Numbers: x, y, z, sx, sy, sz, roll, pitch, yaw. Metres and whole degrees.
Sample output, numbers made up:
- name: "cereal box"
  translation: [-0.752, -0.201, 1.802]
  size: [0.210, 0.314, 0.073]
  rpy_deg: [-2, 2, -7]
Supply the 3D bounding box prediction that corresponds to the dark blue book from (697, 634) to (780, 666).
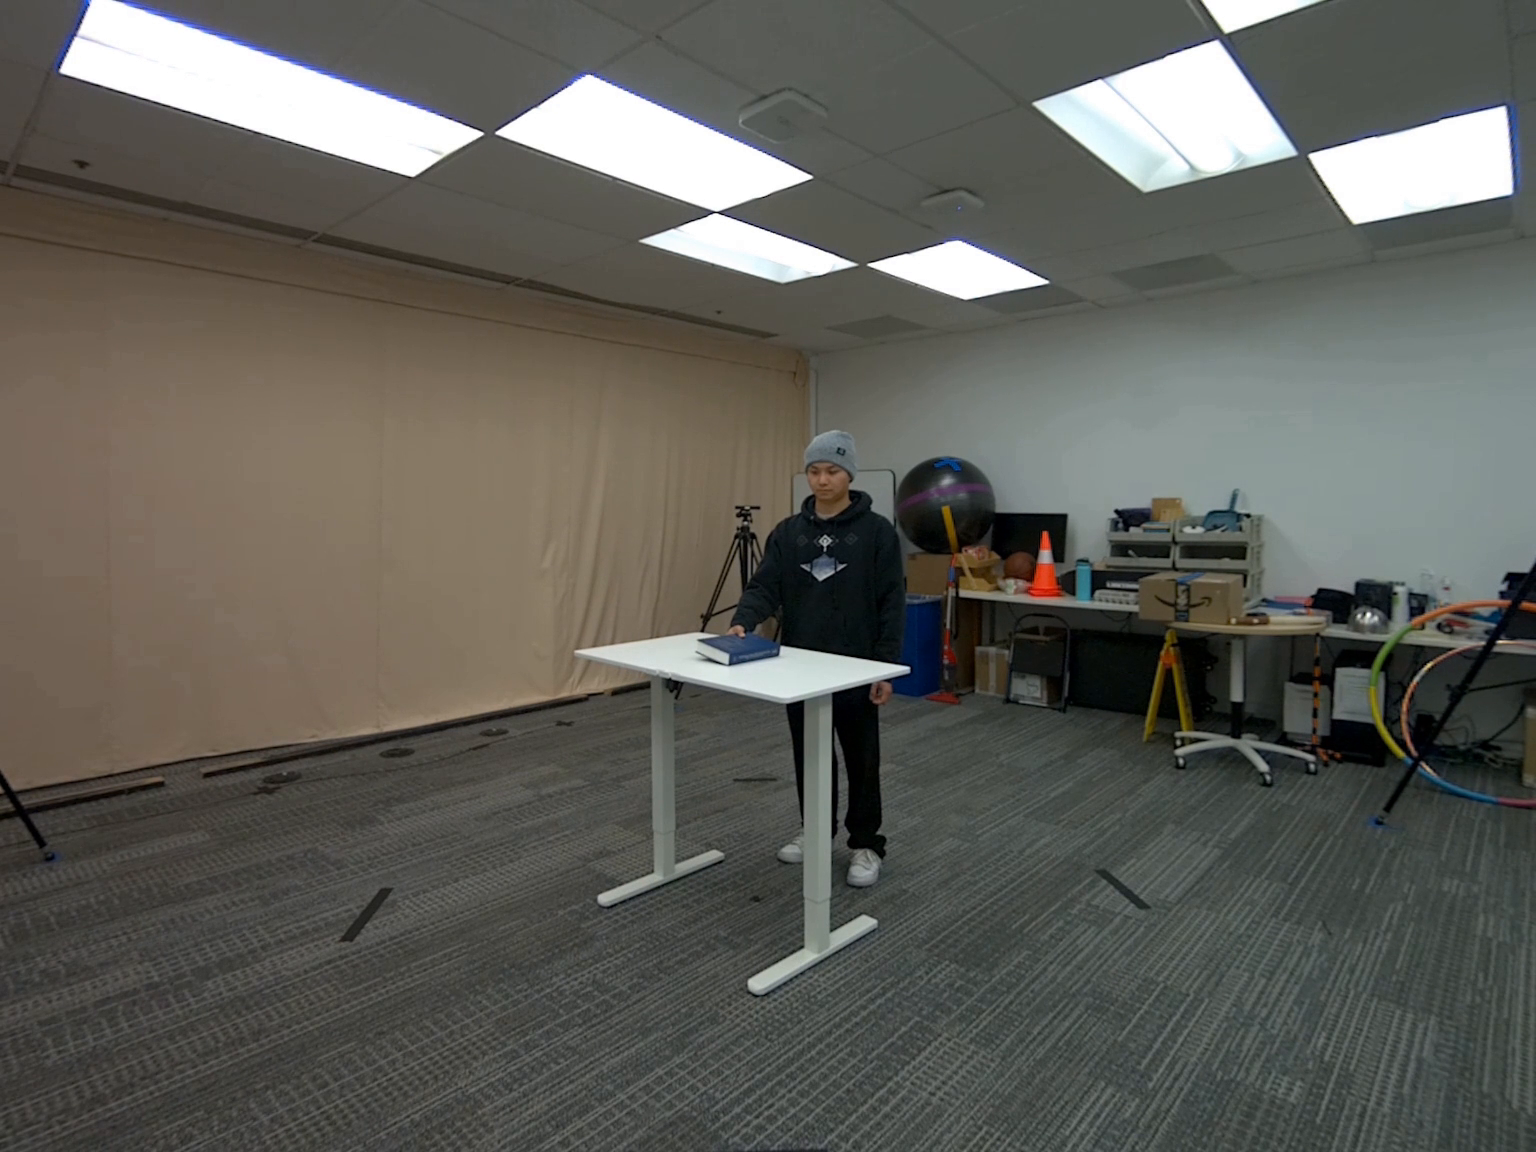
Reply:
- name: "dark blue book"
  translation: [-0.094, 0.244, 2.825]
  size: [0.238, 0.045, 0.169]
  rpy_deg: [-5, 15, -42]
